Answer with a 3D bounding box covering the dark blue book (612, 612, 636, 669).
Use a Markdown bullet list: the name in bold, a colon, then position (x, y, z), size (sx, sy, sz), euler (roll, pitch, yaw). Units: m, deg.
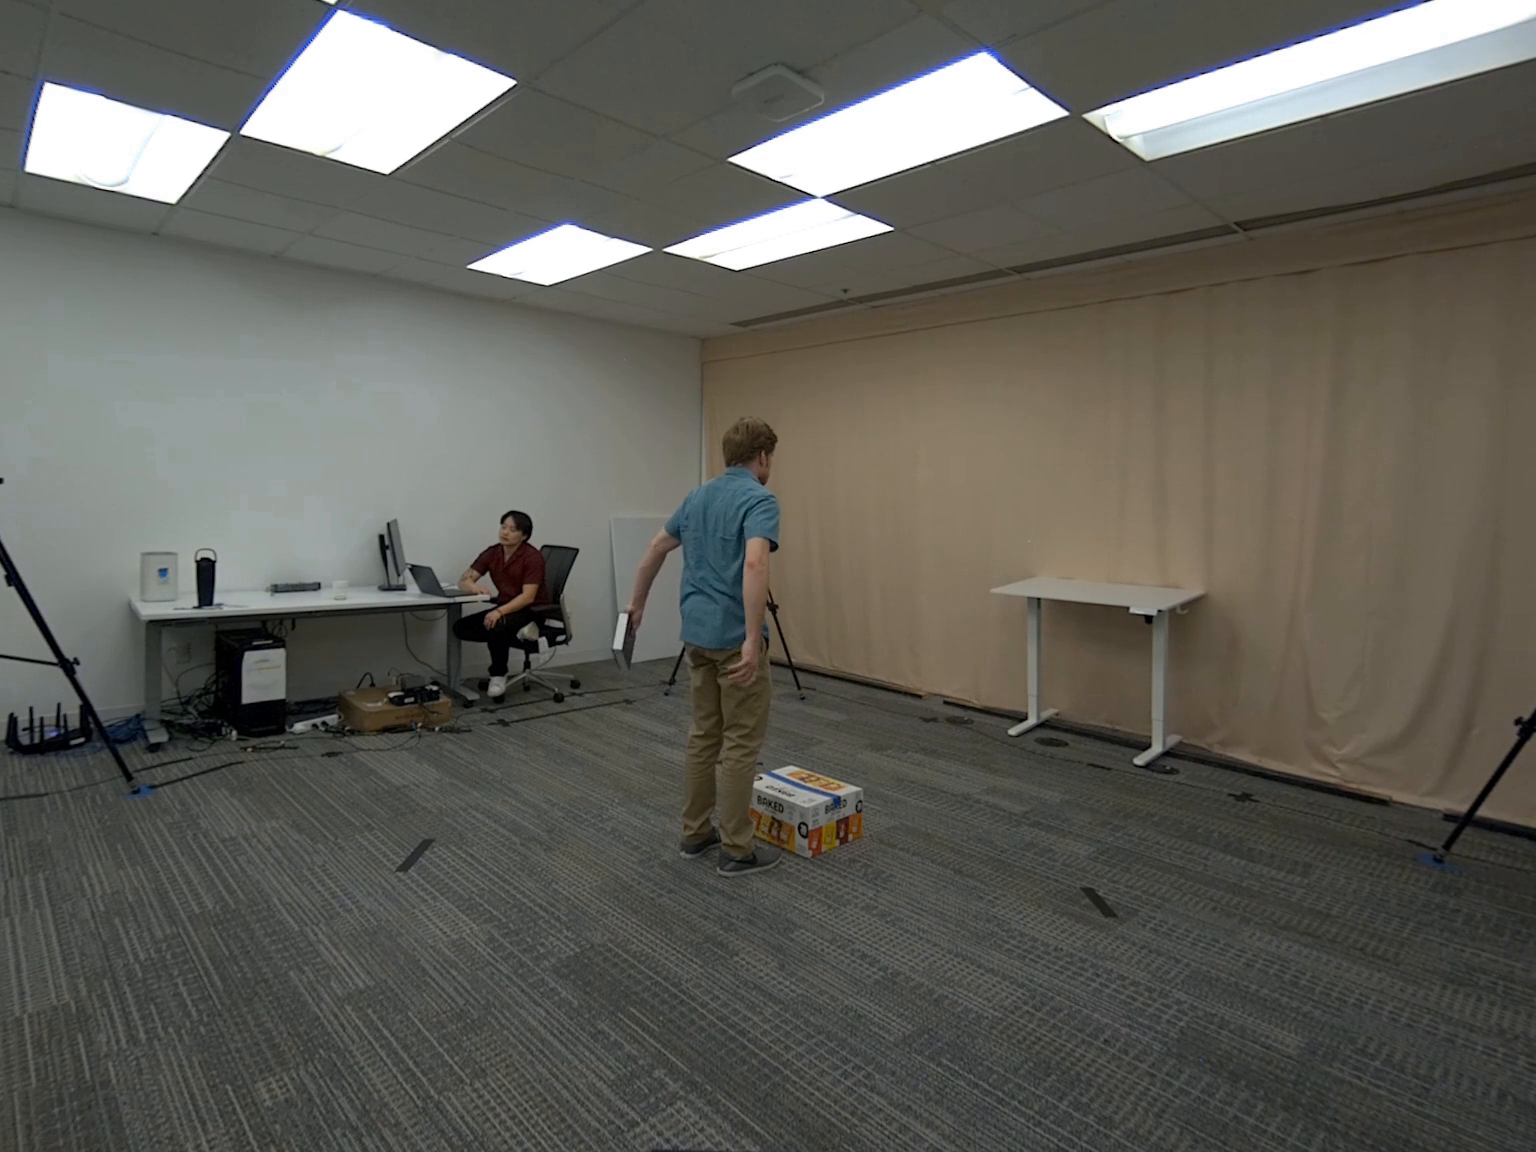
- **dark blue book**: position (-0.583, 0.252, 3.450), size (0.045, 0.166, 0.241), euler (6, -26, 1)
